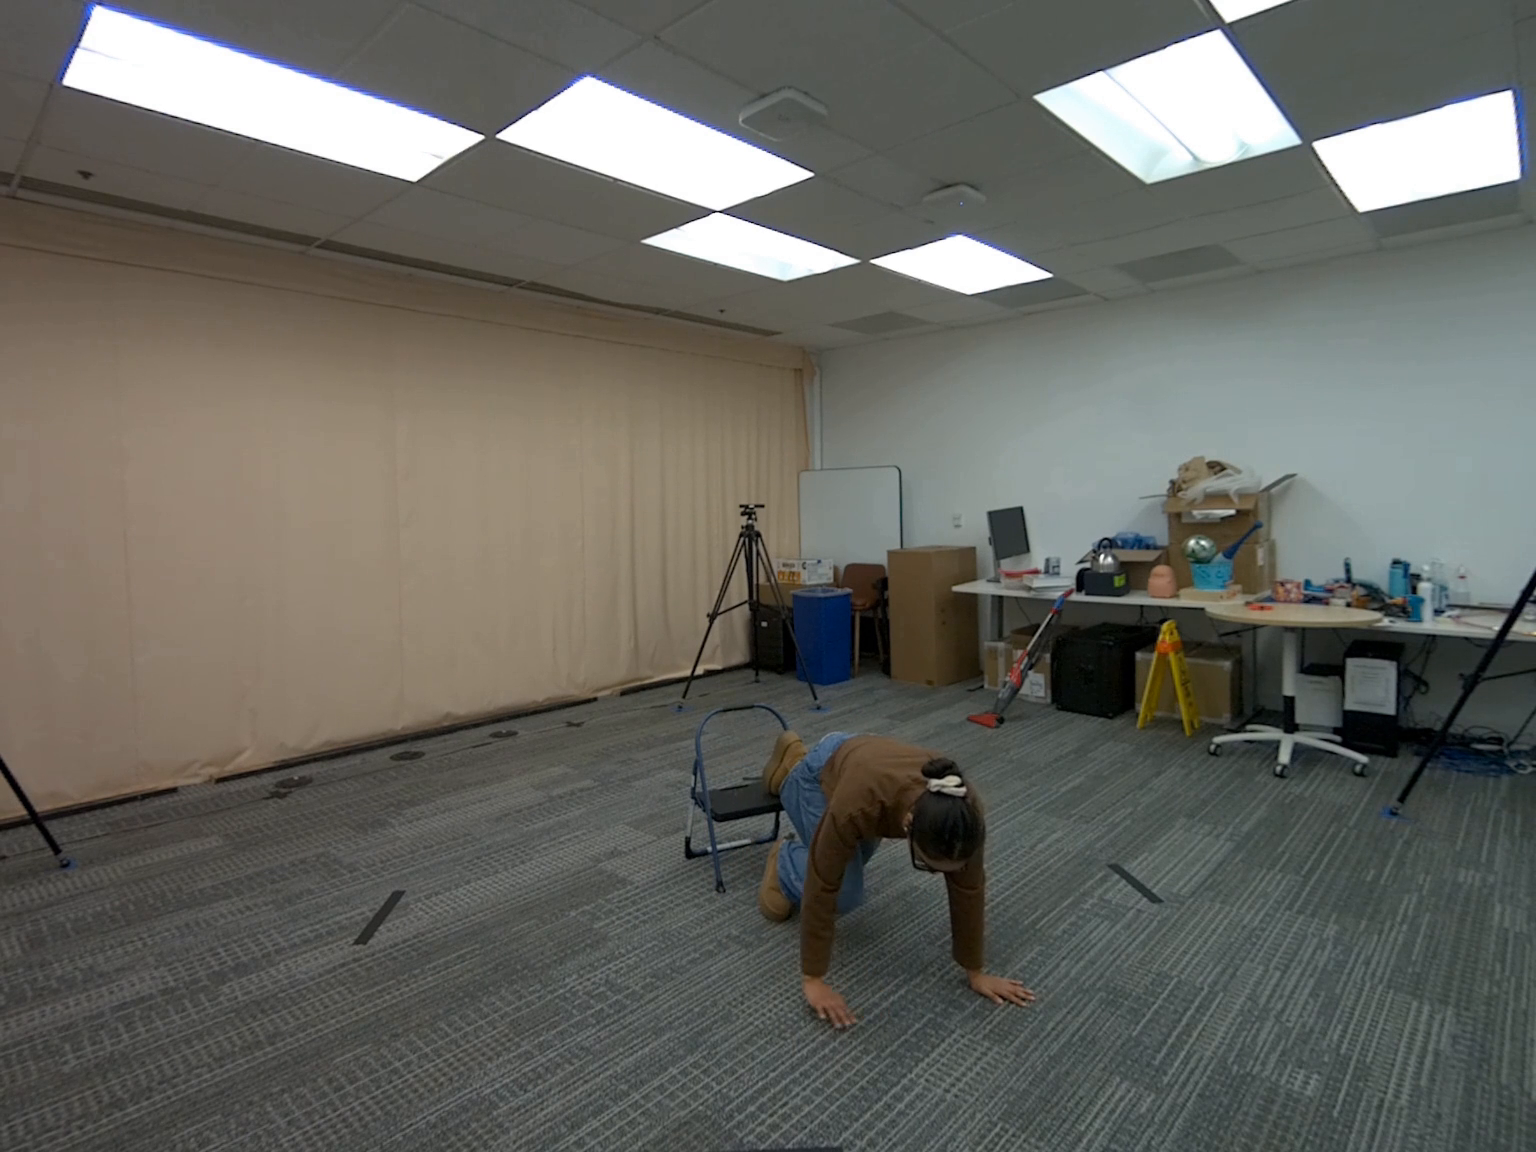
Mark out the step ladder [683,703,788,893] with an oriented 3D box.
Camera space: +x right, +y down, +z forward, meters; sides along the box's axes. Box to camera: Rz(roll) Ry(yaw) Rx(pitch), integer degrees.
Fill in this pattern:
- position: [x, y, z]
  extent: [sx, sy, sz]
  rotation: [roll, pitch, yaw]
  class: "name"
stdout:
- position: [-0.075, 0.817, 3.258]
  extent: [0.420, 0.605, 0.359]
  rotation: [-3, 4, -27]
  class: "step ladder"
